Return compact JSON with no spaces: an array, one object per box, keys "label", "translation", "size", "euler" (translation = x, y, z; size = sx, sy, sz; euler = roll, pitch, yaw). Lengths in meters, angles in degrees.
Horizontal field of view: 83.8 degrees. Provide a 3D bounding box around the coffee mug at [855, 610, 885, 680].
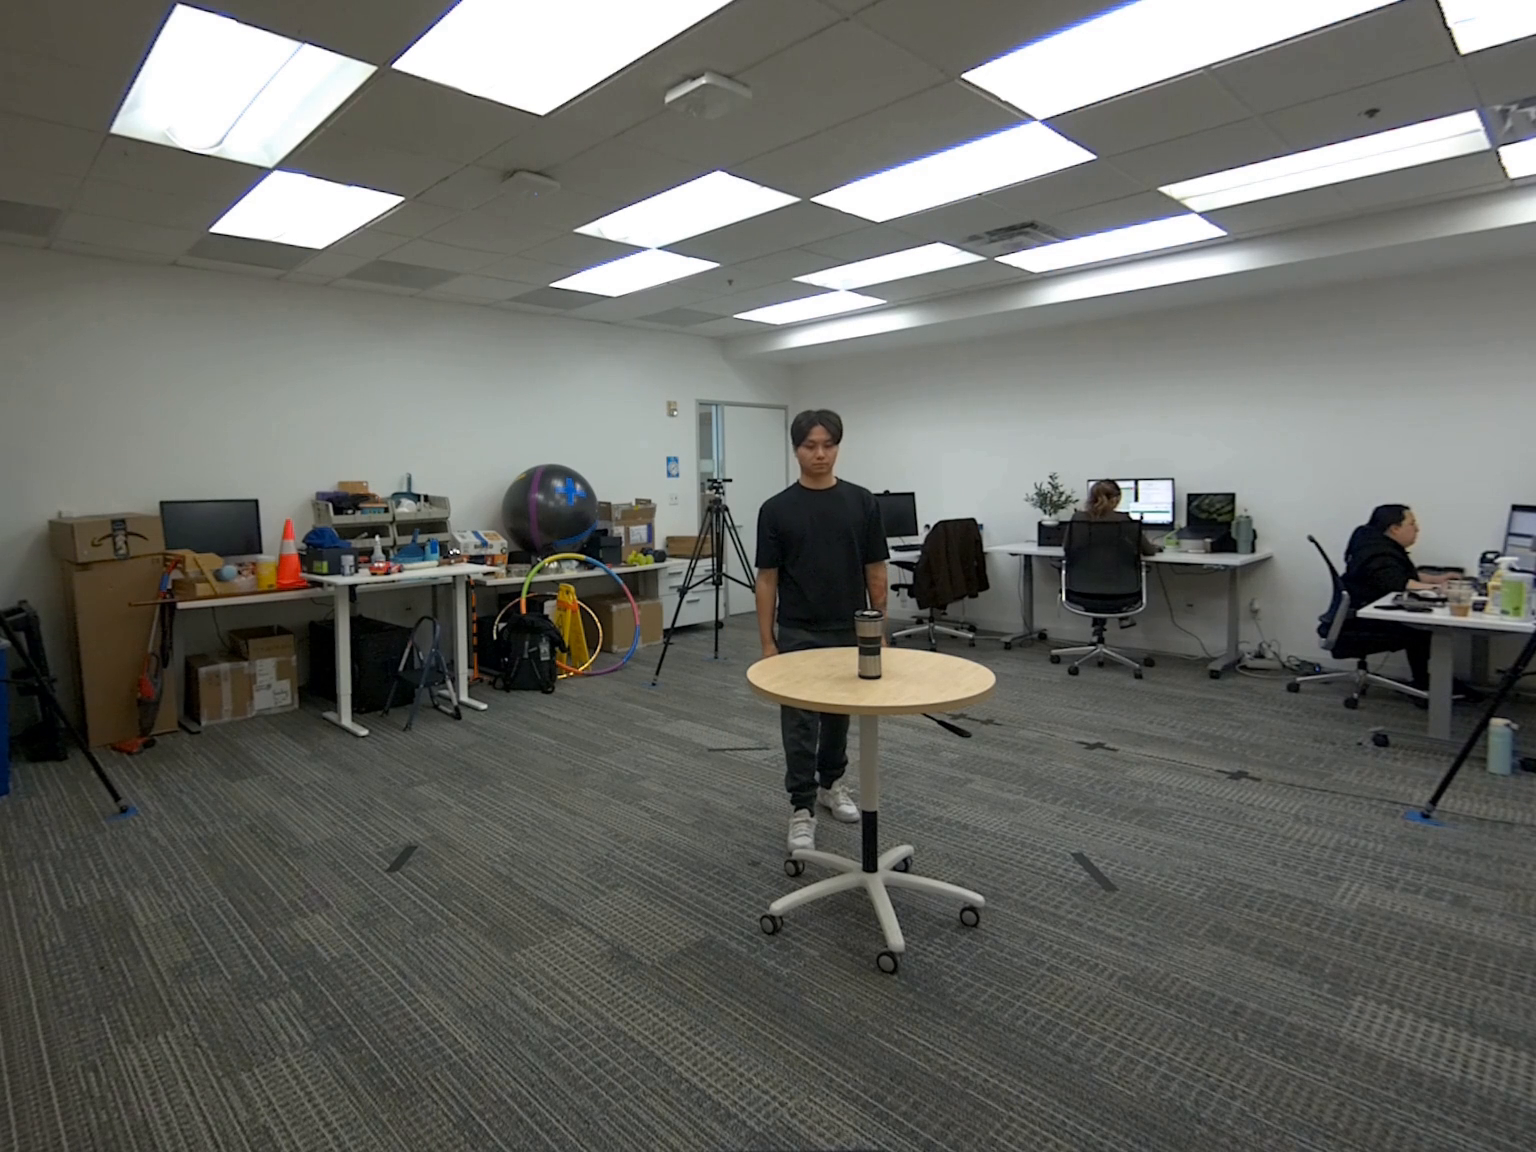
[{"label":"coffee mug","translation":[0.326,0.212,2.637],"size":[0.090,0.202,0.119],"euler":[-3,5,38]}]
